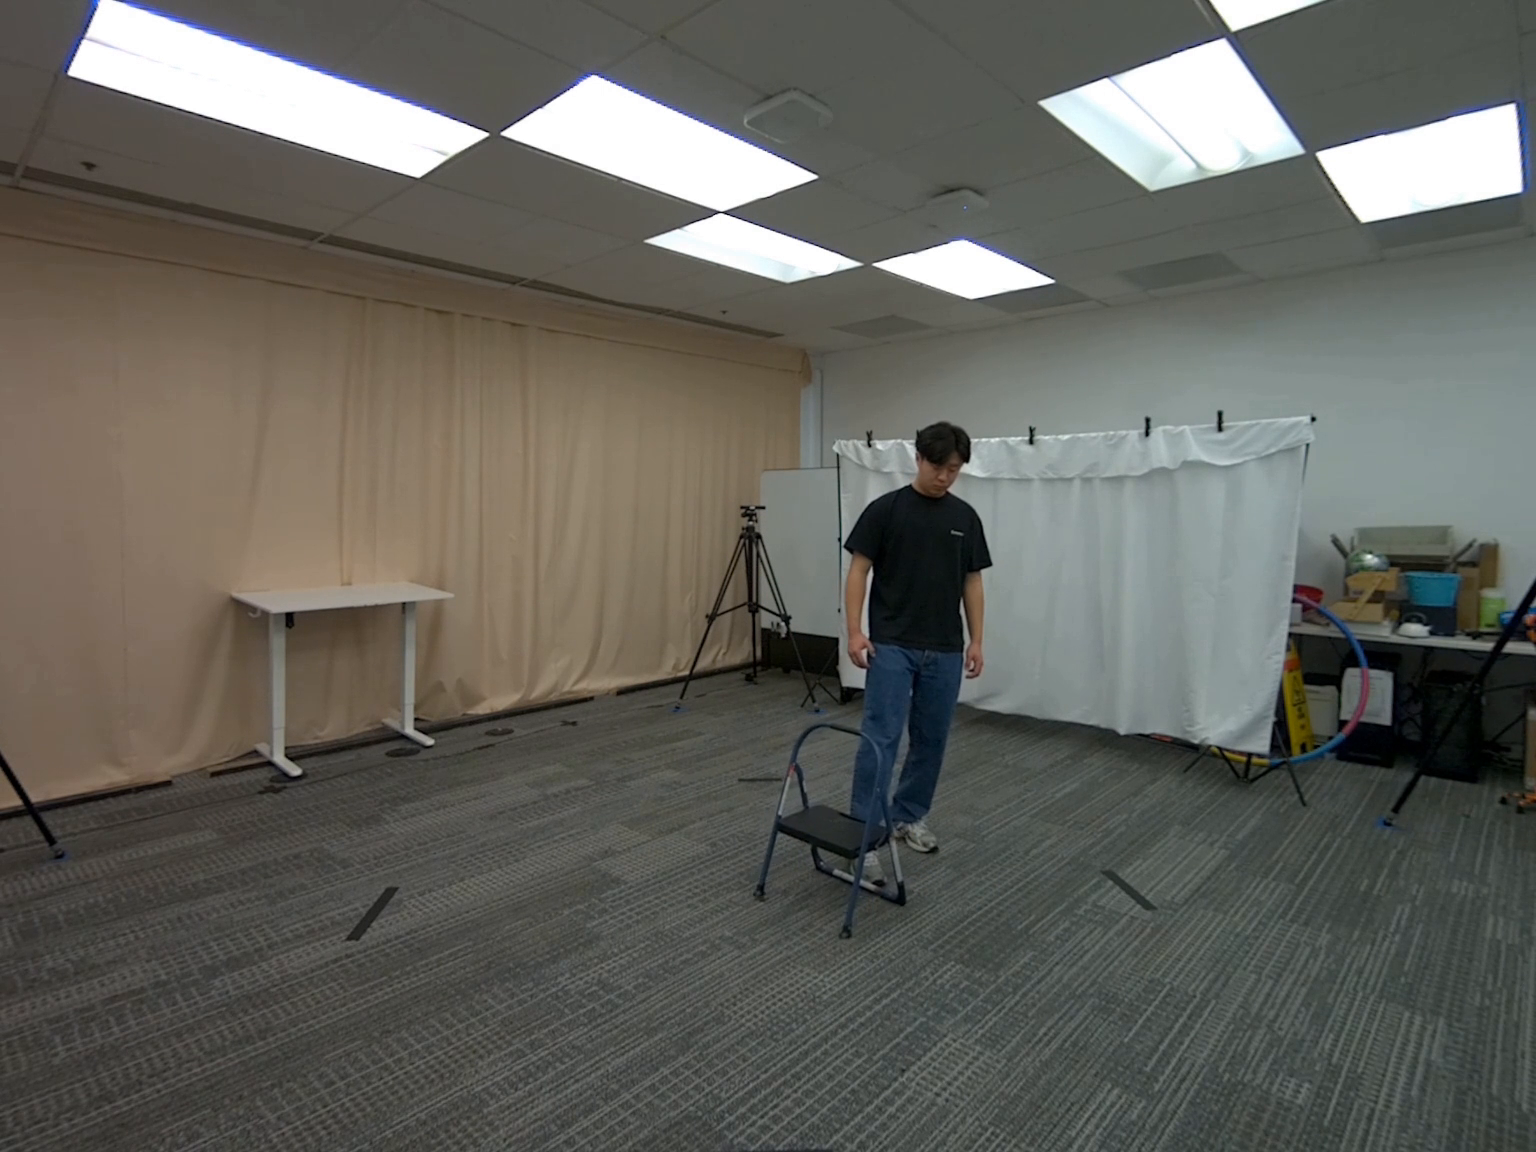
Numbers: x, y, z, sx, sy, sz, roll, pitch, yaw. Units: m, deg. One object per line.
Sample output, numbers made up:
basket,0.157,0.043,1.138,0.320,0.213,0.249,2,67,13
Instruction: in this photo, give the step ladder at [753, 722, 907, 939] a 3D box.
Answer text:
step ladder,0.225,0.839,2.960,0.338,0.605,0.445,-3,5,-44
